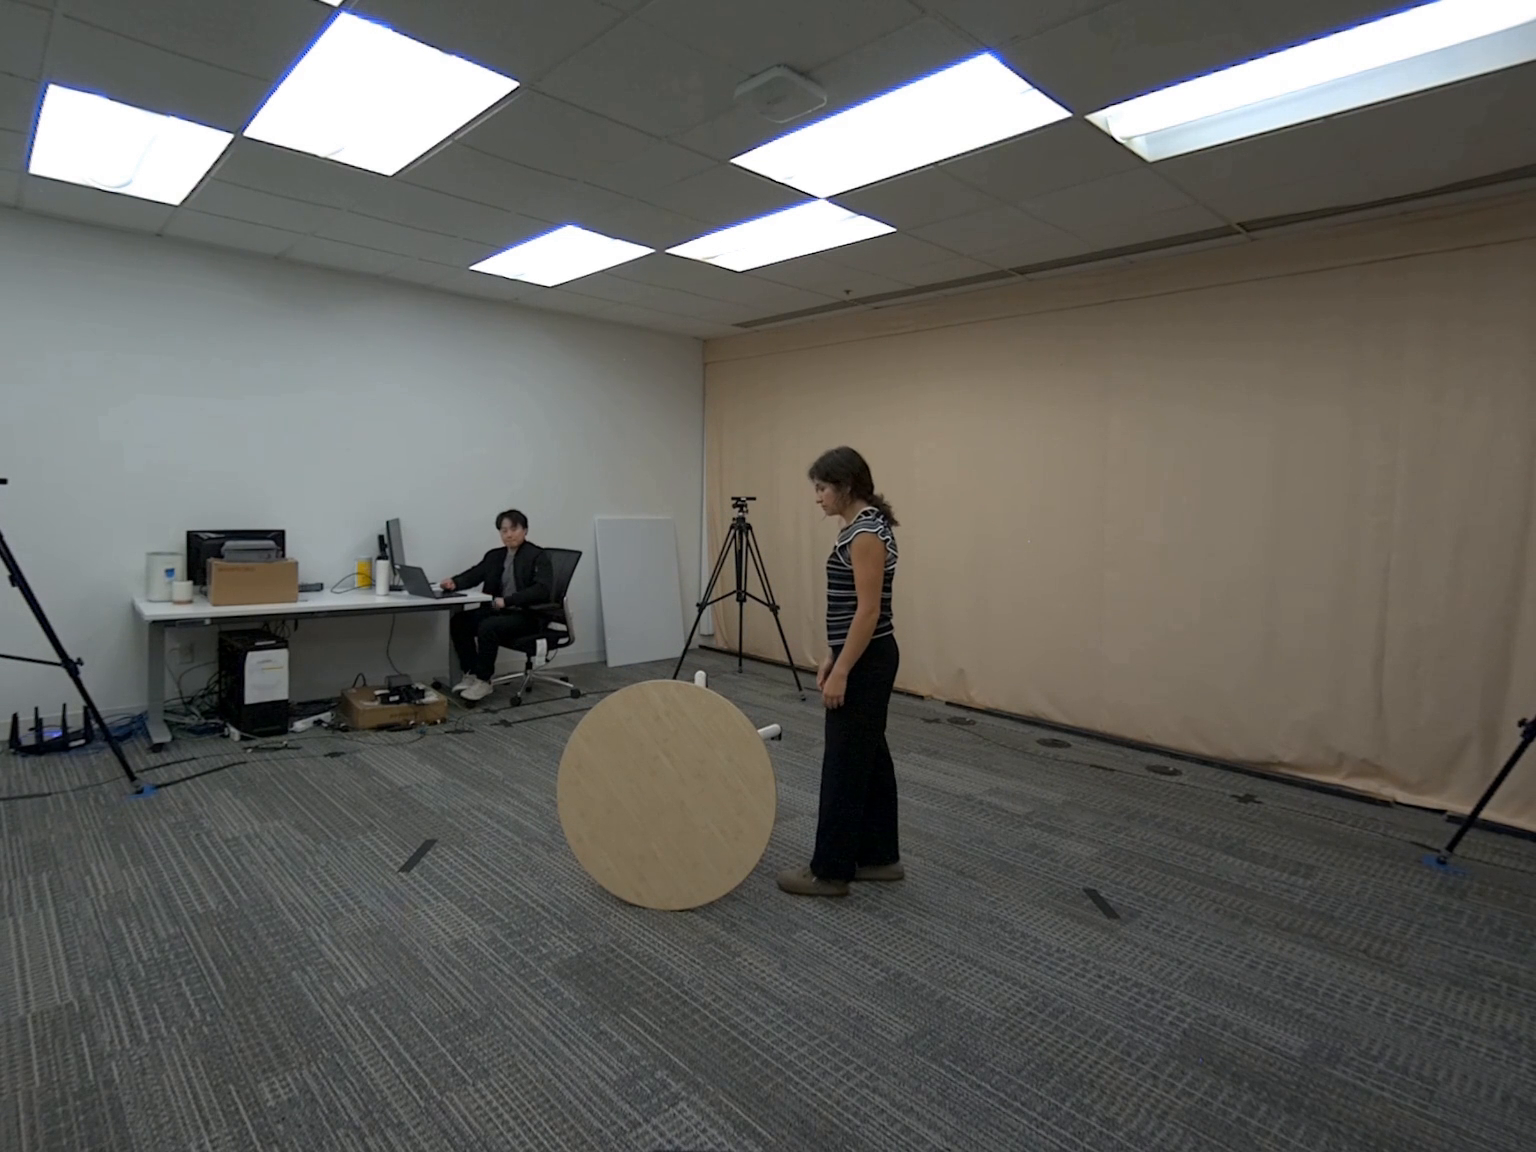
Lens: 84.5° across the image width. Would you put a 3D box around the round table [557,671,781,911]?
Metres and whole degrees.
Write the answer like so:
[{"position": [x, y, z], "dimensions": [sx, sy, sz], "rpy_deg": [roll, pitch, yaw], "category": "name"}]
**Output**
[{"position": [-0.323, 0.759, 3.255], "dimensions": [0.769, 0.765, 0.787], "rpy_deg": [2, -2, 7], "category": "round table"}]
